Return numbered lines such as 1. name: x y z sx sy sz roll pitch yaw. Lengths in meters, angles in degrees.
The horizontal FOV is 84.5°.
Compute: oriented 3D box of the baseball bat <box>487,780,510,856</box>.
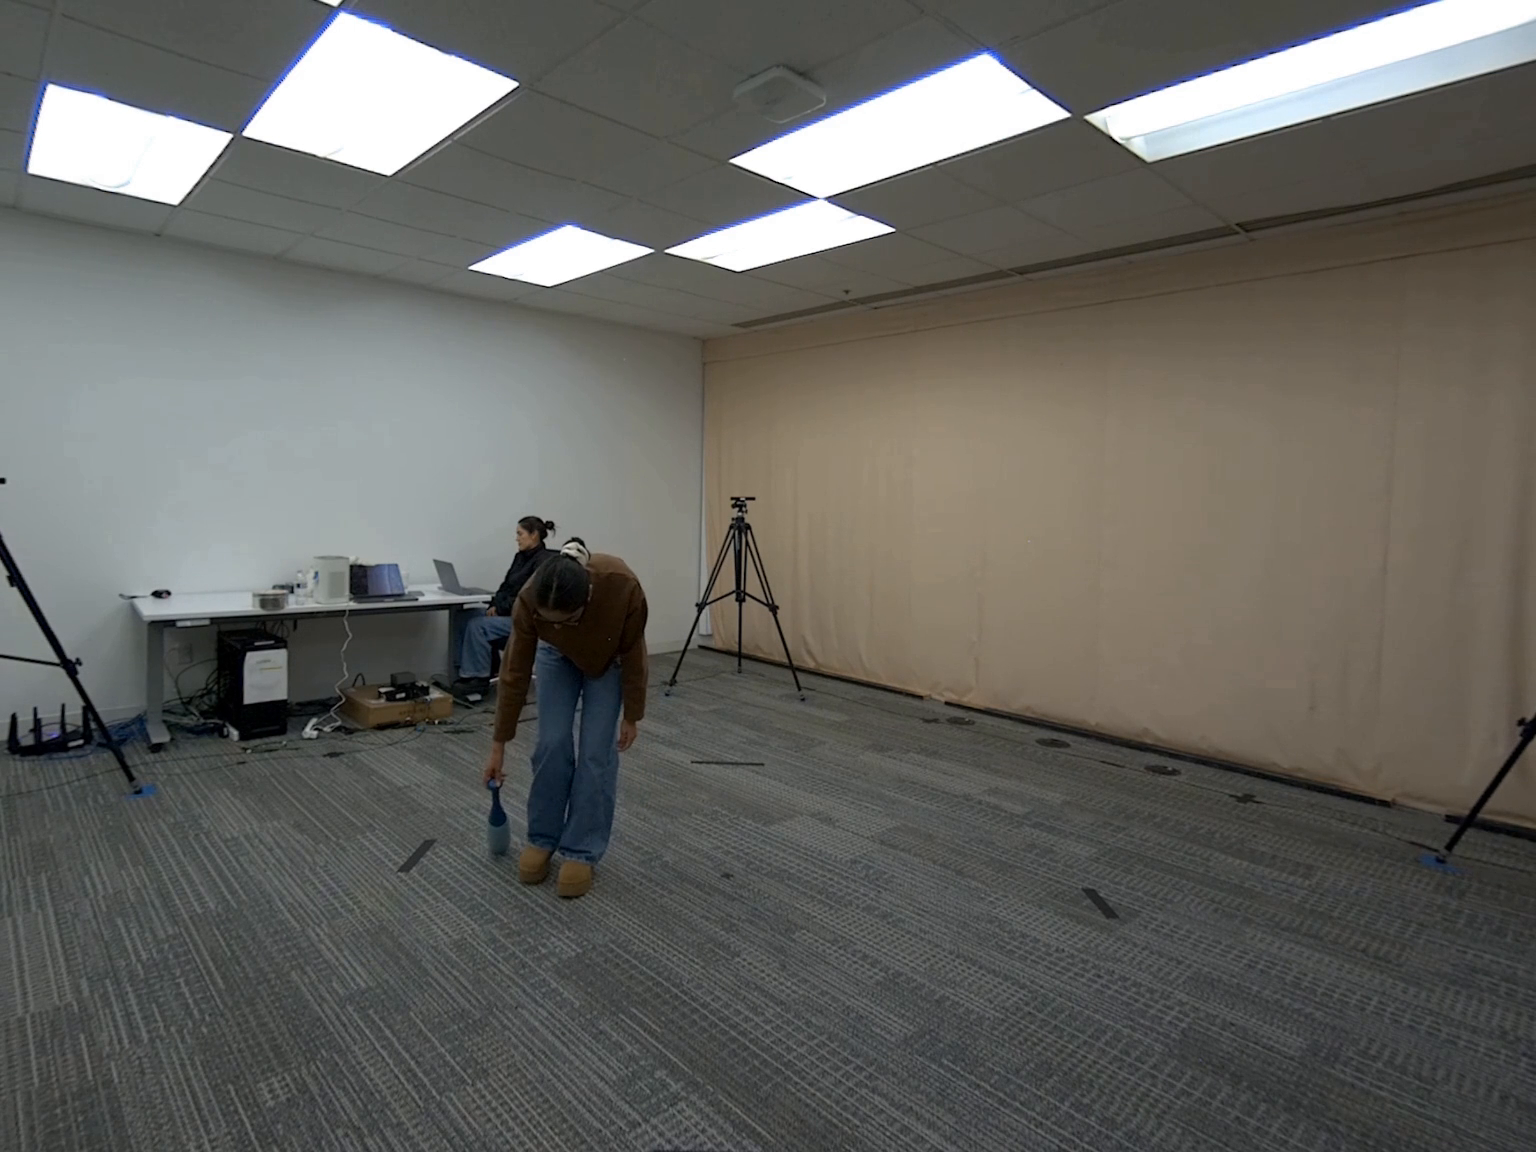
1. baseball bat: -0.992 0.876 3.083 0.088 0.091 0.535 1 -39 -15
